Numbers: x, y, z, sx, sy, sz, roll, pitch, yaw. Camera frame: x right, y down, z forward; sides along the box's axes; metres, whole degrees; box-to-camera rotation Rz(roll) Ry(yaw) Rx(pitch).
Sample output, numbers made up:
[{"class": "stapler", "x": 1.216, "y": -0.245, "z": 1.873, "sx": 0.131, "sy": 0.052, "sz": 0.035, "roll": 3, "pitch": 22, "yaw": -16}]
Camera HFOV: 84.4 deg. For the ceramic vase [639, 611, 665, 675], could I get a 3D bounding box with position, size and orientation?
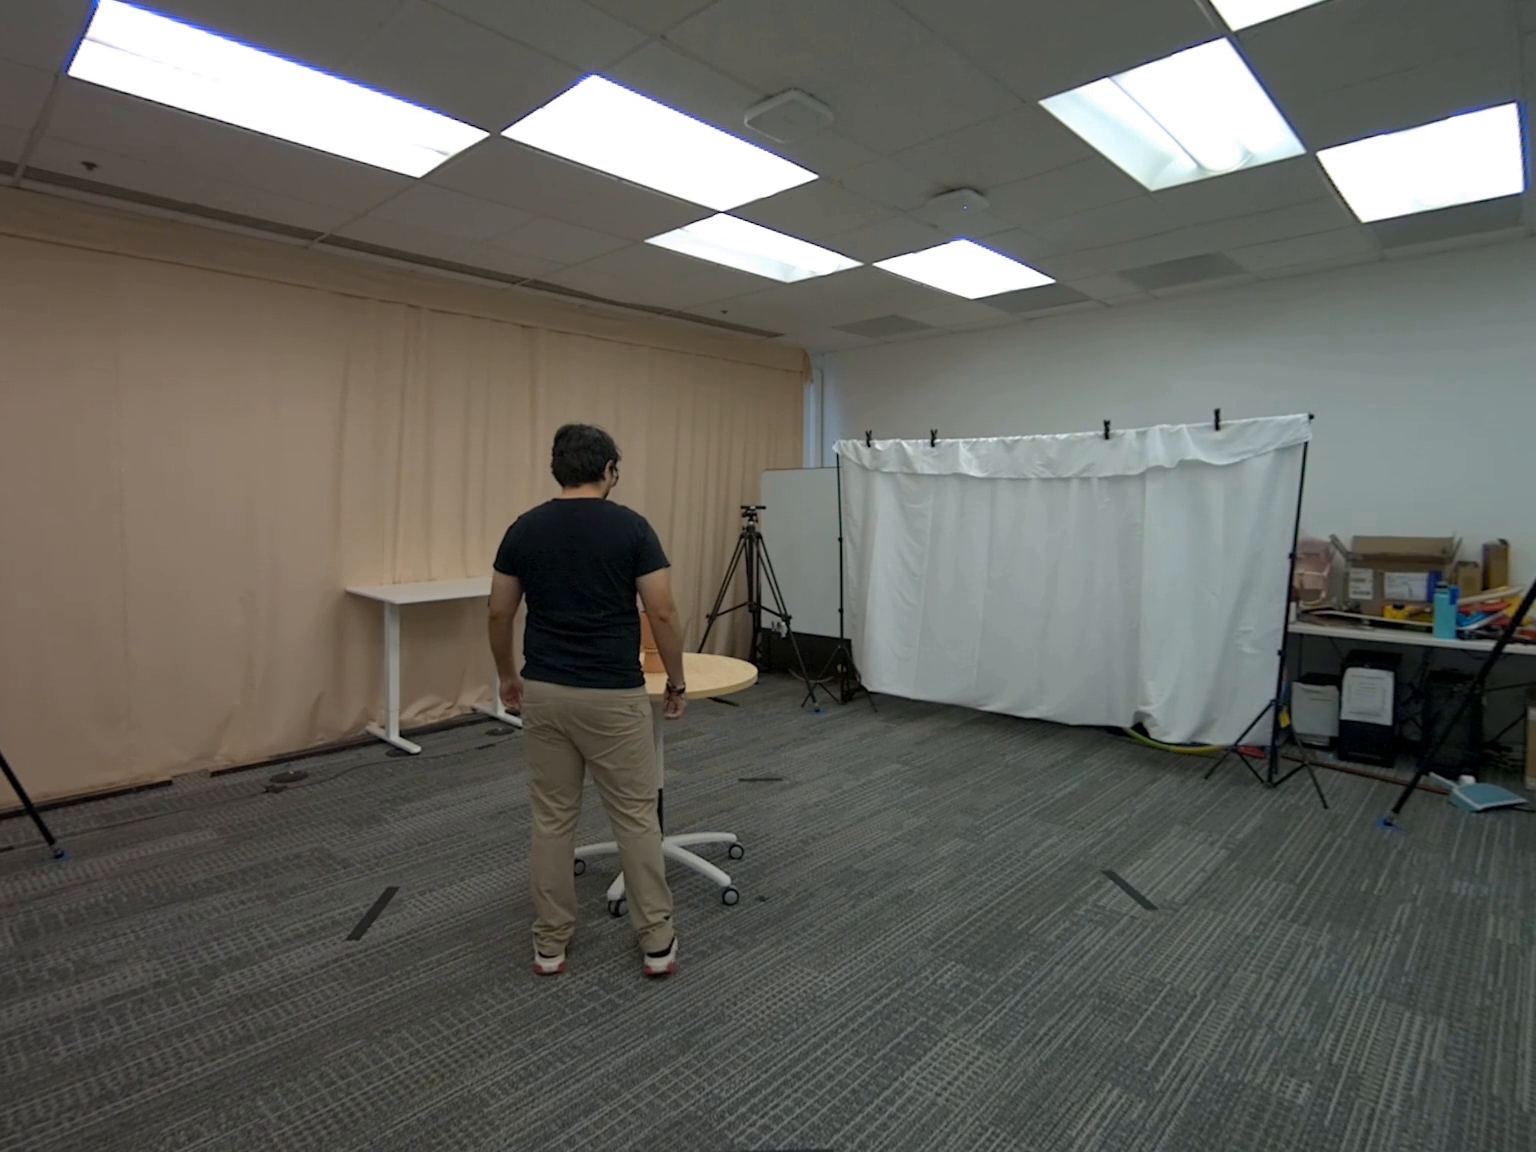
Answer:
[{"class": "ceramic vase", "x": -0.411, "y": 0.242, "z": 3.120, "sx": 0.139, "sy": 0.219, "sz": 0.154, "roll": 2, "pitch": 3, "yaw": 32}]
